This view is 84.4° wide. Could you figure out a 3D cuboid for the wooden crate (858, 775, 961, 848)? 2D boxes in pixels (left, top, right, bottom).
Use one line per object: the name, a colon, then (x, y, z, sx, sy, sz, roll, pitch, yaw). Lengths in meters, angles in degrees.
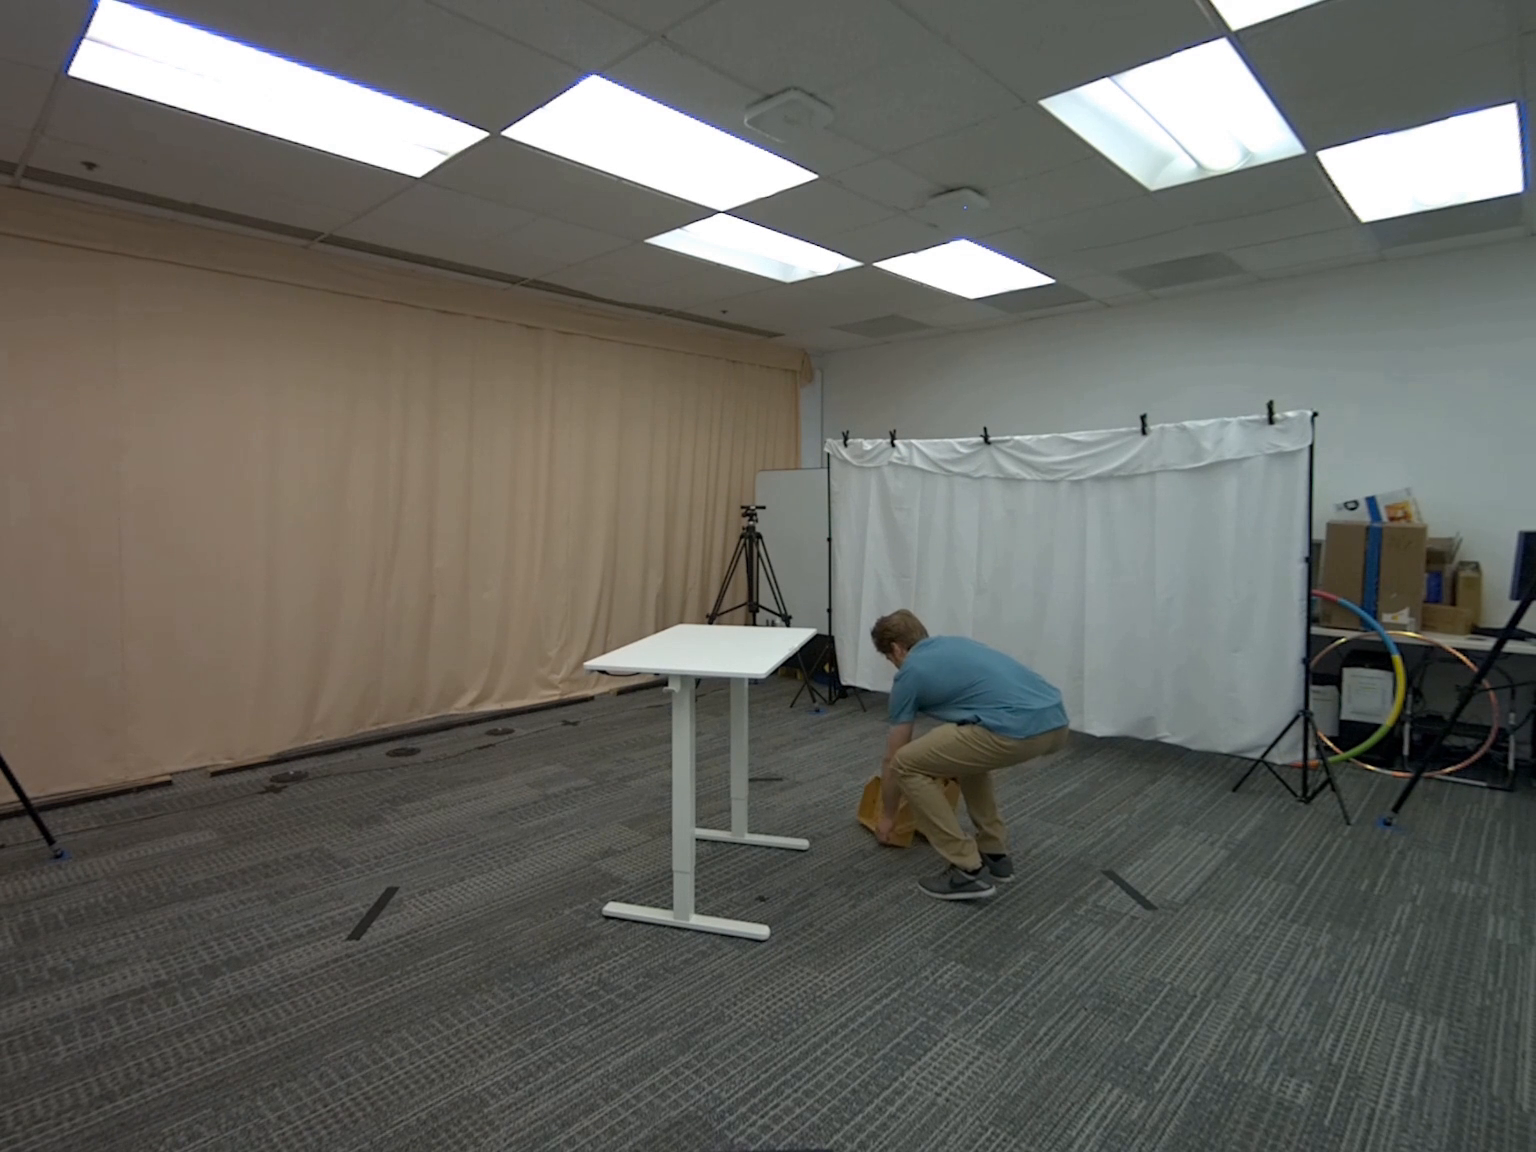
wooden crate: (0.590, 0.953, 3.591, 0.267, 0.302, 0.332, 16, -2, -21)
